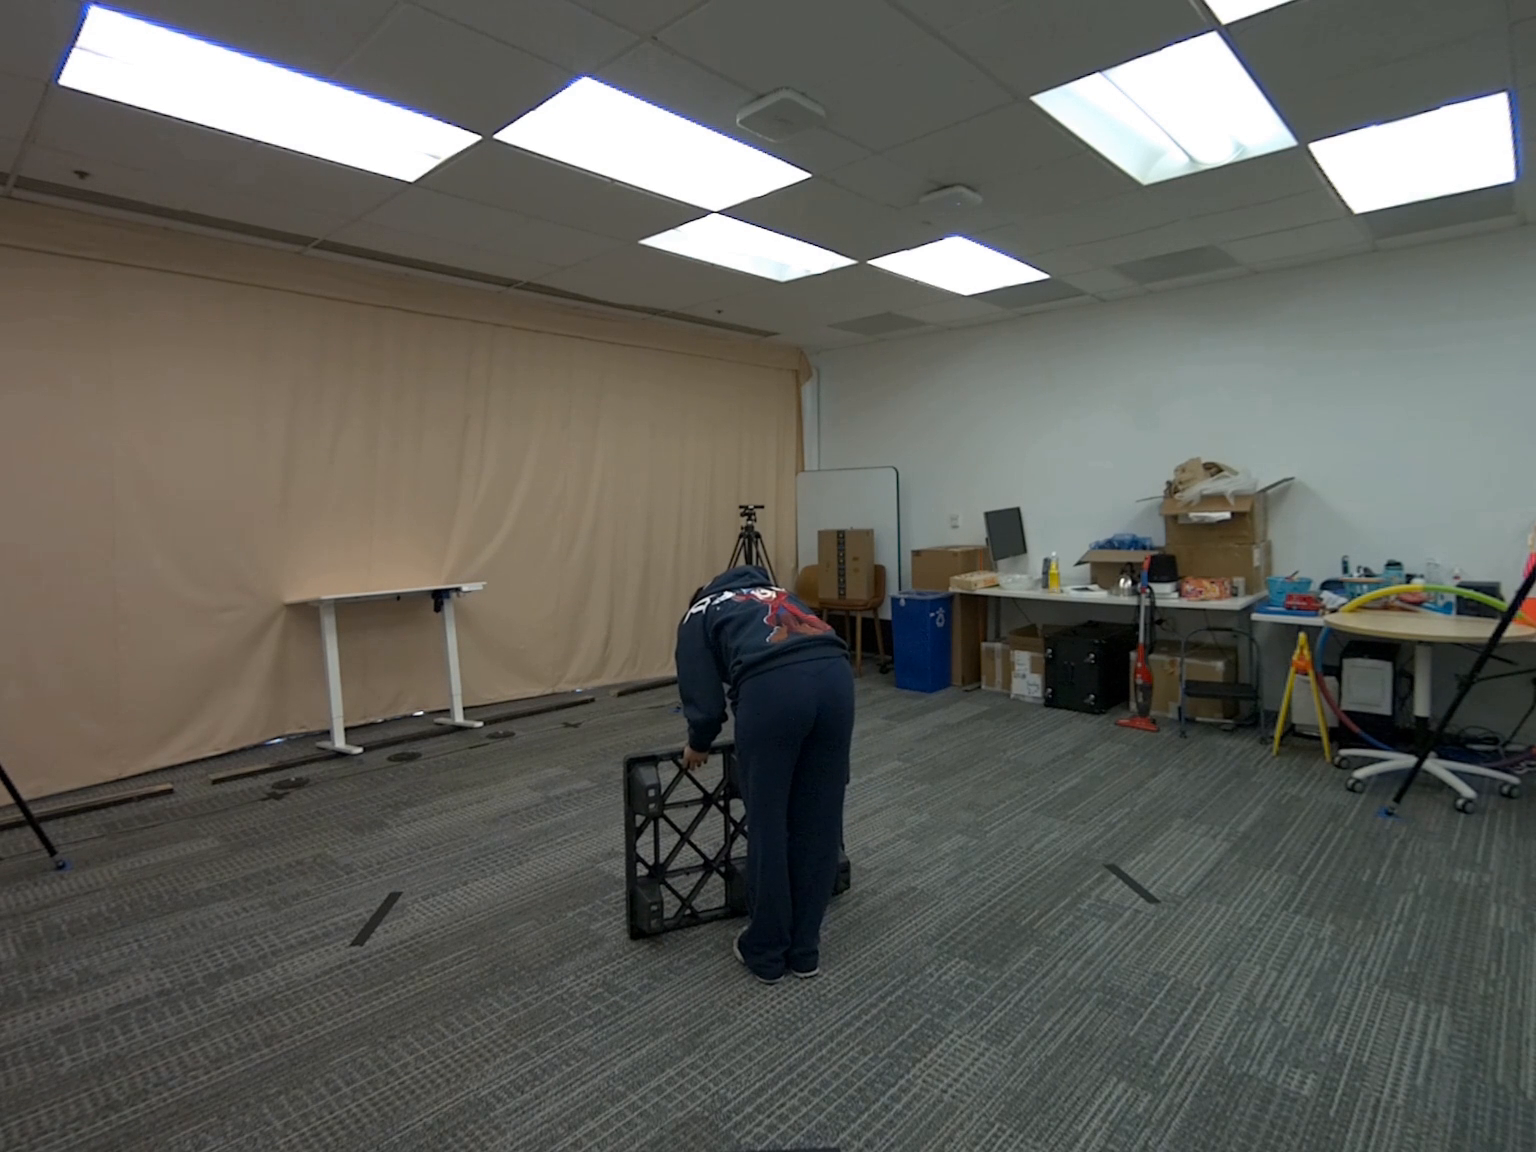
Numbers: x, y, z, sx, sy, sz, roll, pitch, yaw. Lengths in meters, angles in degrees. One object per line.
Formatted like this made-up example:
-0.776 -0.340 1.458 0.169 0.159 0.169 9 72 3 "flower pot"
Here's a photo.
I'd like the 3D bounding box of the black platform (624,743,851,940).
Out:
-0.079 0.860 2.808 0.788 0.604 0.147 -3 4 -22 "black platform"
